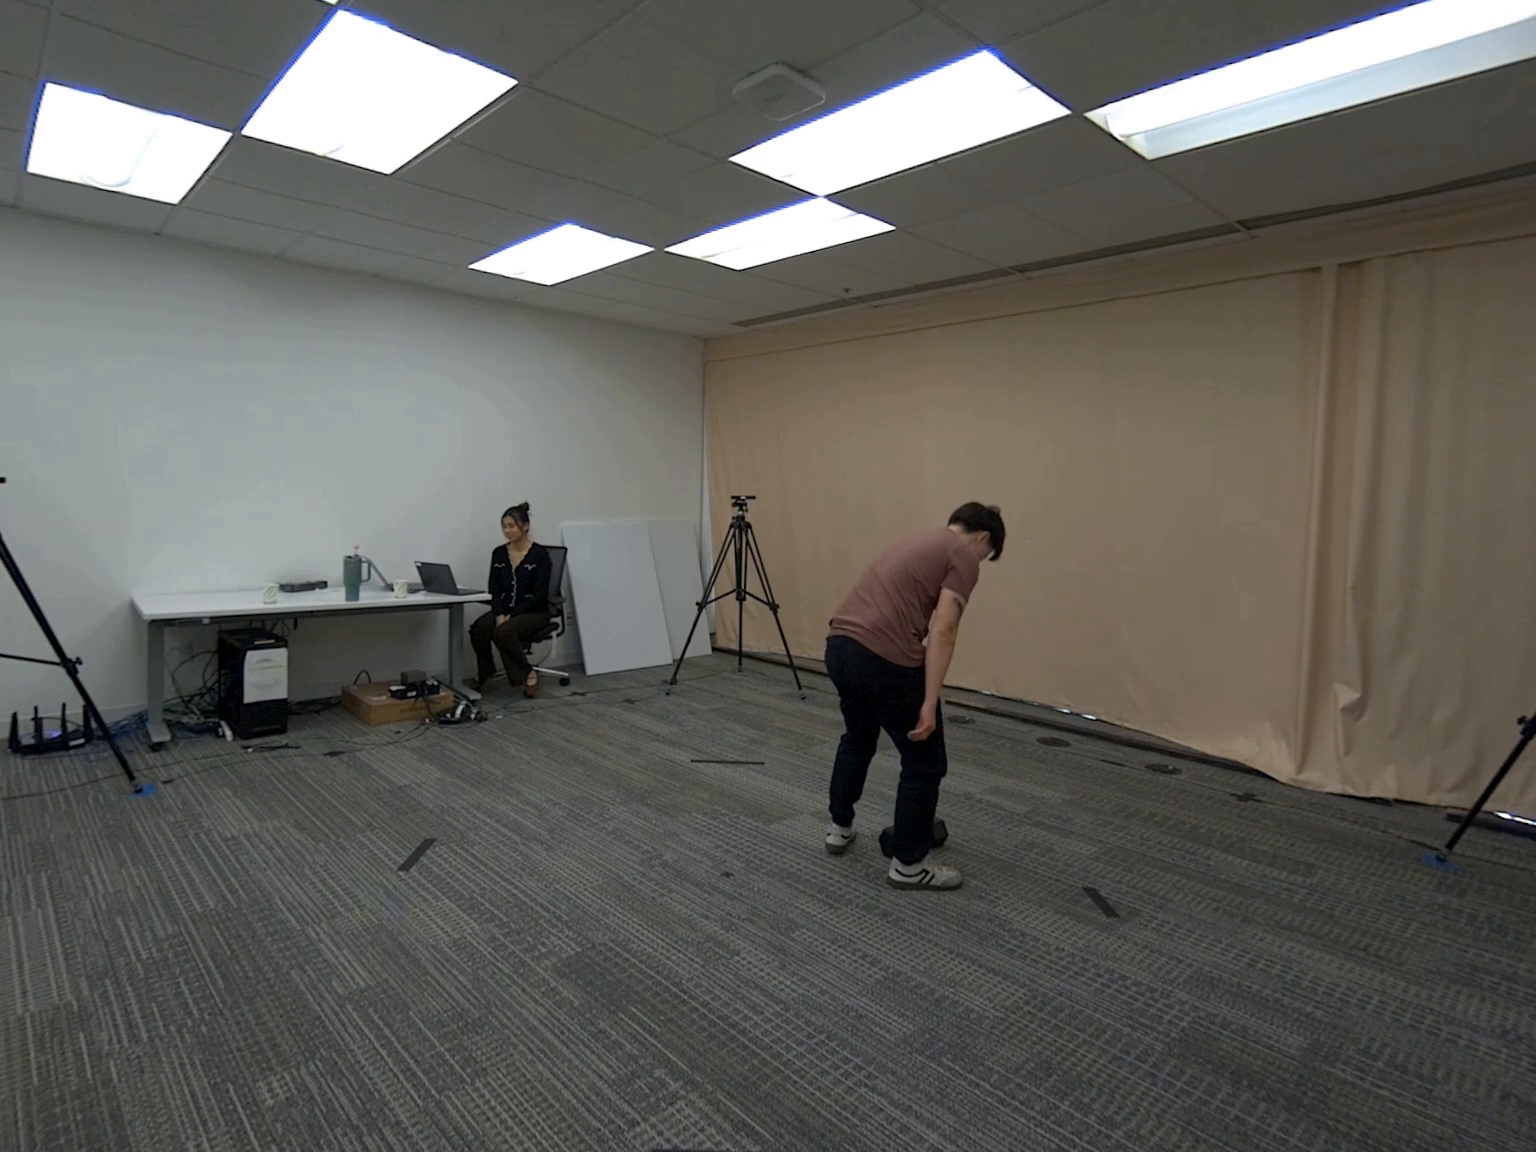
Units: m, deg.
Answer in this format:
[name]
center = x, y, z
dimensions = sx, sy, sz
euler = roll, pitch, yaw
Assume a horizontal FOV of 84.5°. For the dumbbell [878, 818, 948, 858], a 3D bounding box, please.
[dumbbell]
center = 0.578, 1.046, 3.363
dimensions = 0.287, 0.121, 0.112
euler = -4, 36, -34
